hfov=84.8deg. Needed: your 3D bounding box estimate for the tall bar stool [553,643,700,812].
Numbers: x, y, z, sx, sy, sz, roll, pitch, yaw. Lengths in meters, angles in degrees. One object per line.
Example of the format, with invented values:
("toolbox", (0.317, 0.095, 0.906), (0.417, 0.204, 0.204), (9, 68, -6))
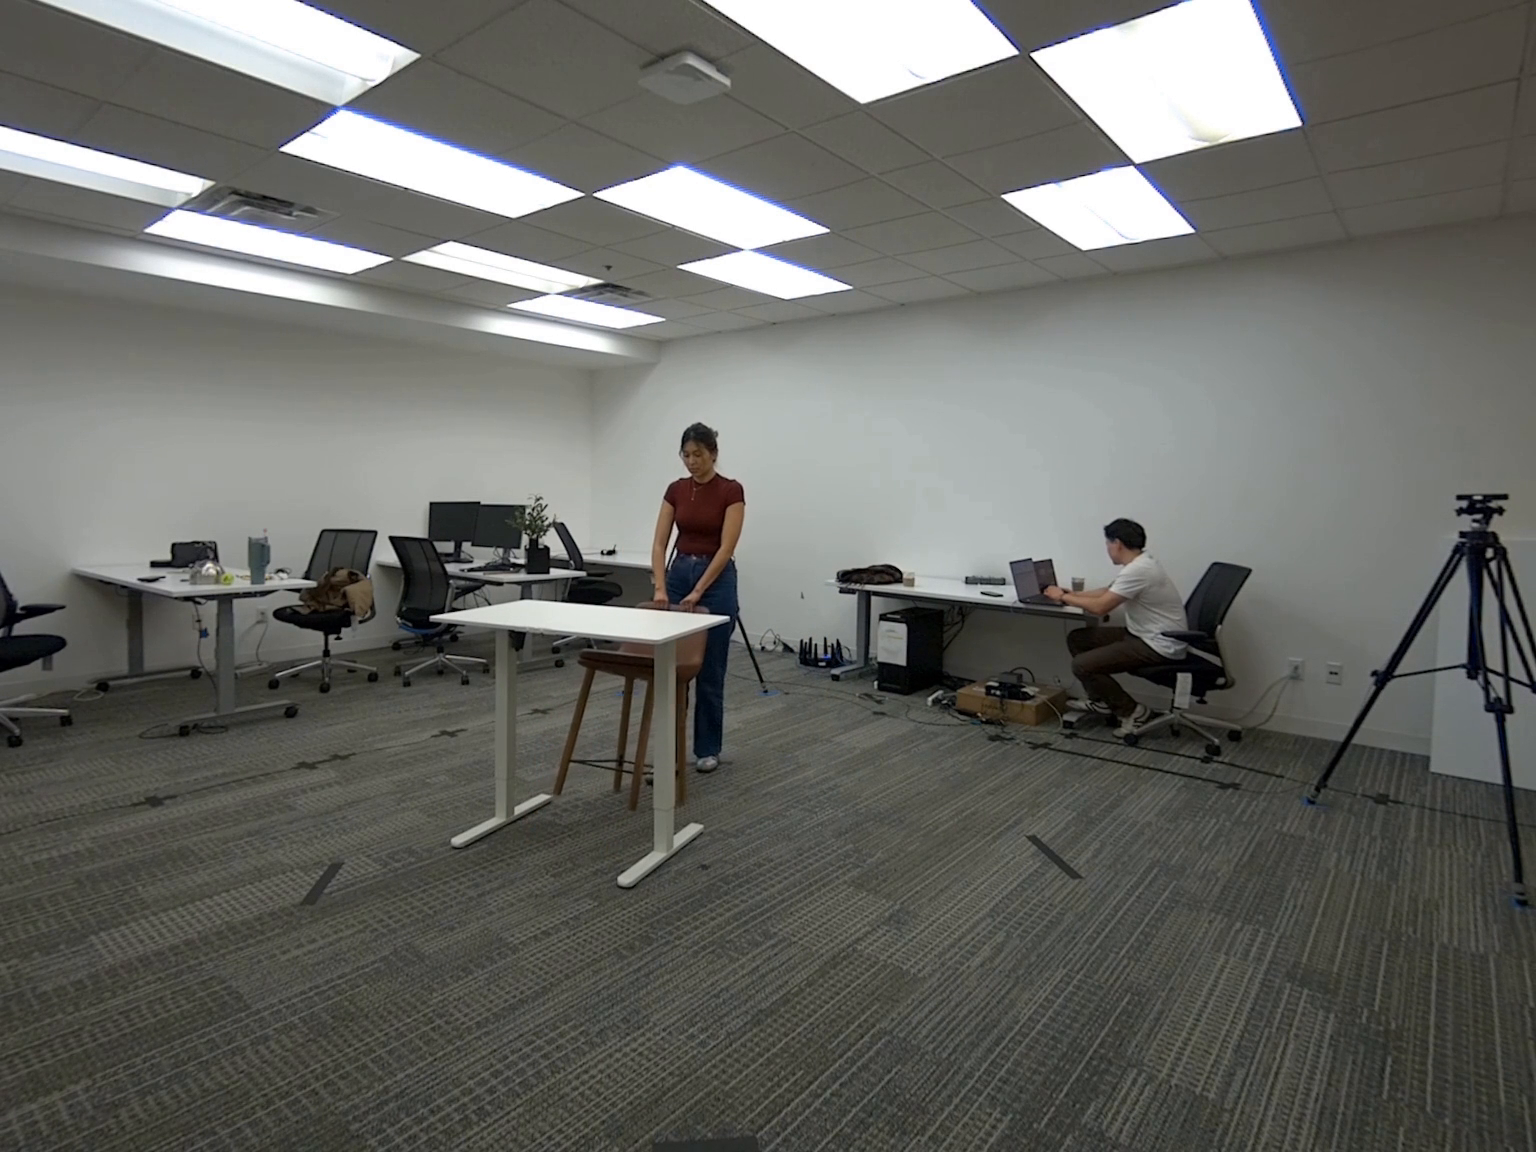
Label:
("tall bar stool", (-0.585, 0.529, 3.716), (0.469, 0.898, 0.451), (1, -13, 27))
